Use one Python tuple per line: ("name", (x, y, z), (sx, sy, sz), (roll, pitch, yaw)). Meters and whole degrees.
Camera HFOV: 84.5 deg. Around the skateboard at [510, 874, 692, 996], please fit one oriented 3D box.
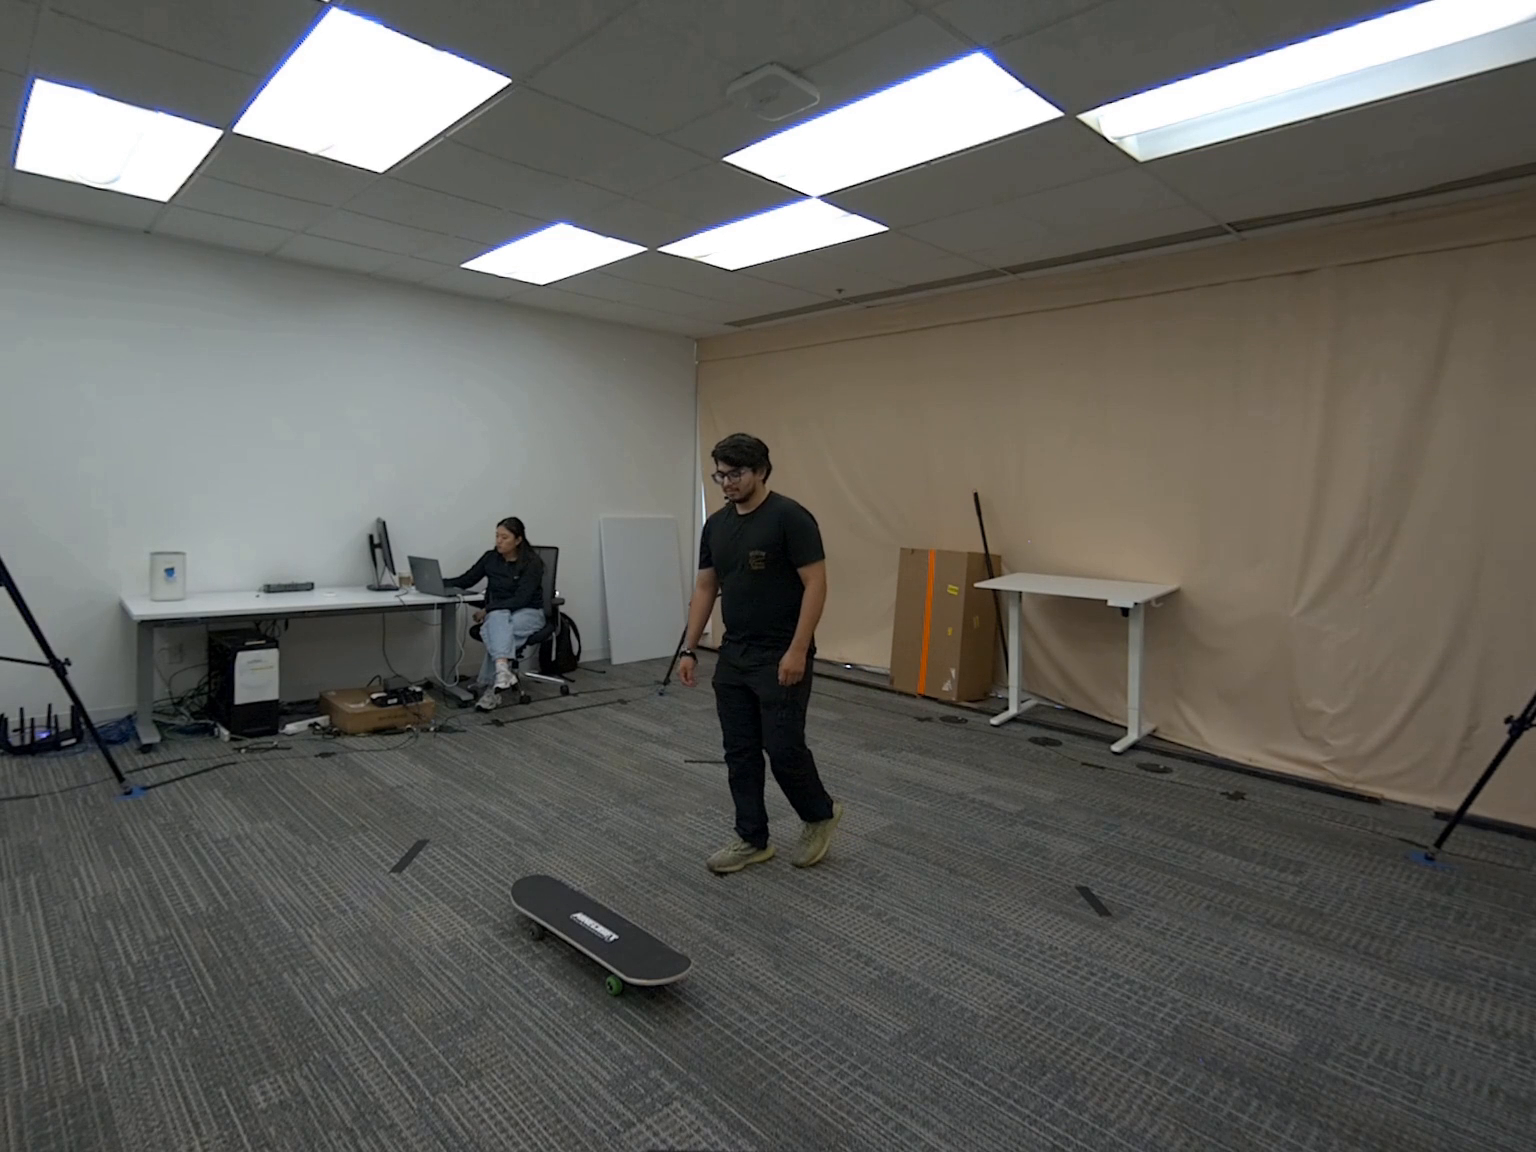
("skateboard", (-0.537, 1.098, 2.534), (0.805, 0.110, 0.189), (6, 7, 44))
